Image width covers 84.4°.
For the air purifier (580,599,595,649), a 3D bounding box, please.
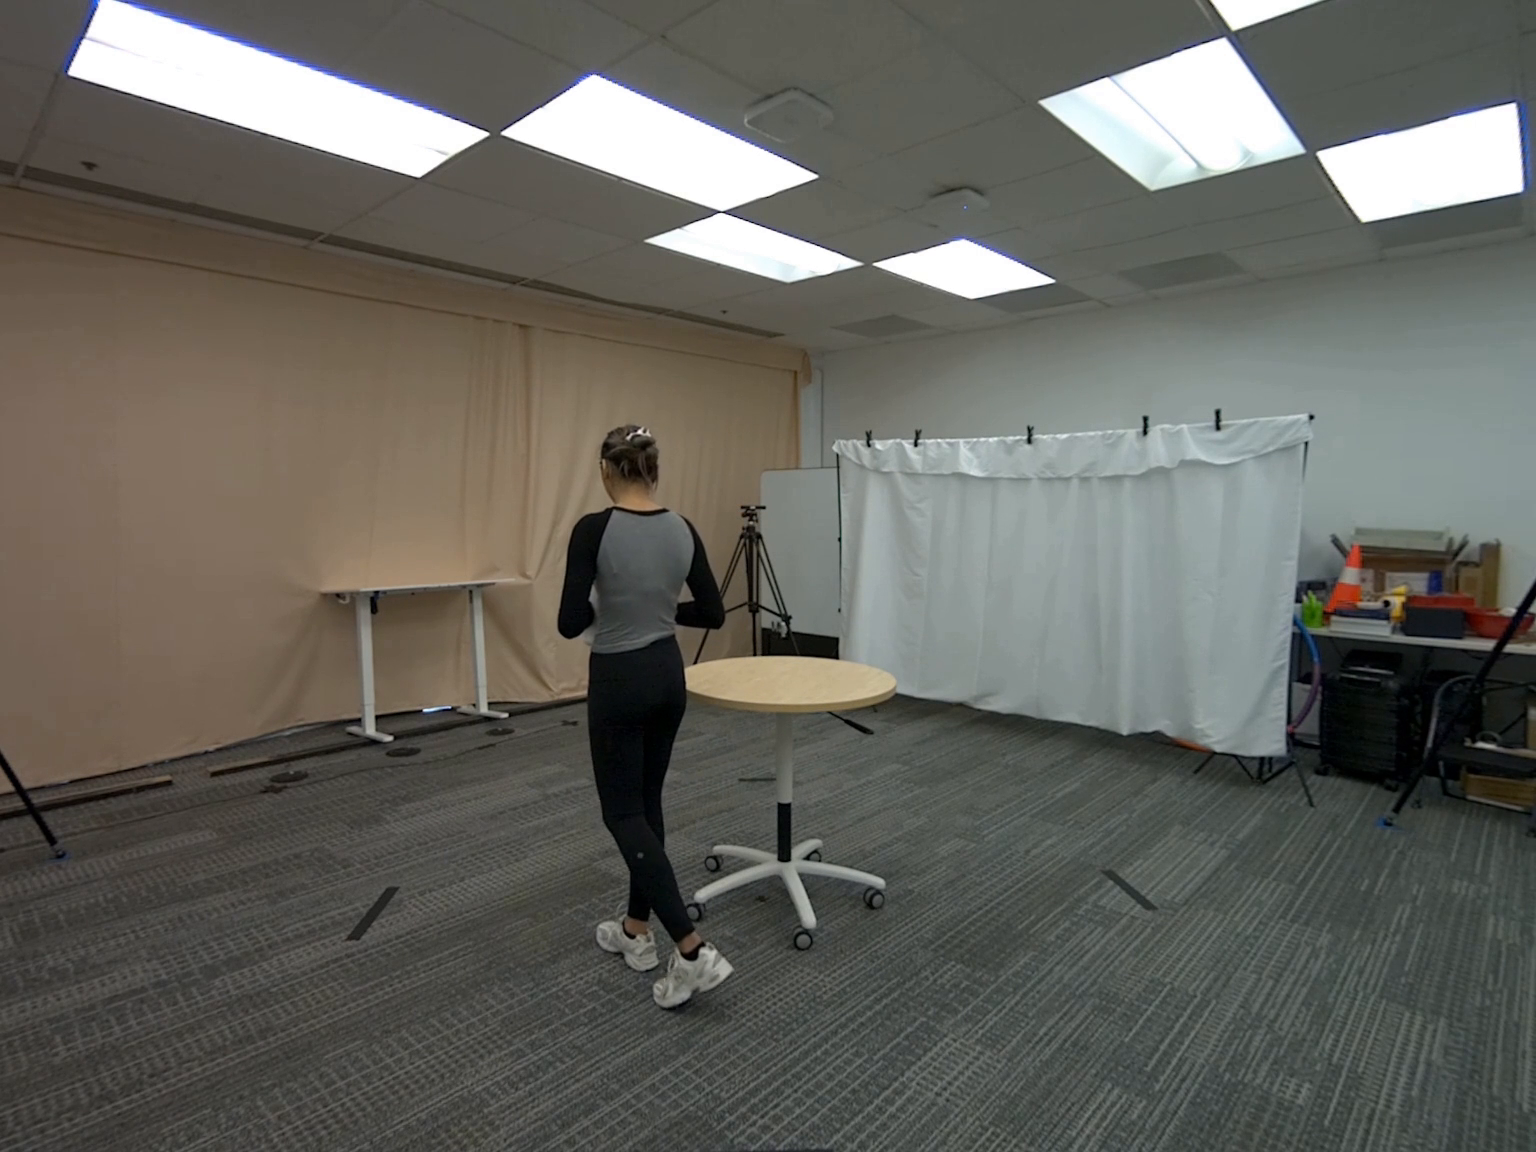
[{"bbox_3d":[-0.511,0.087,2.691,0.167,0.265,0.176,-4,-1,-29],"label":"air purifier"}]
